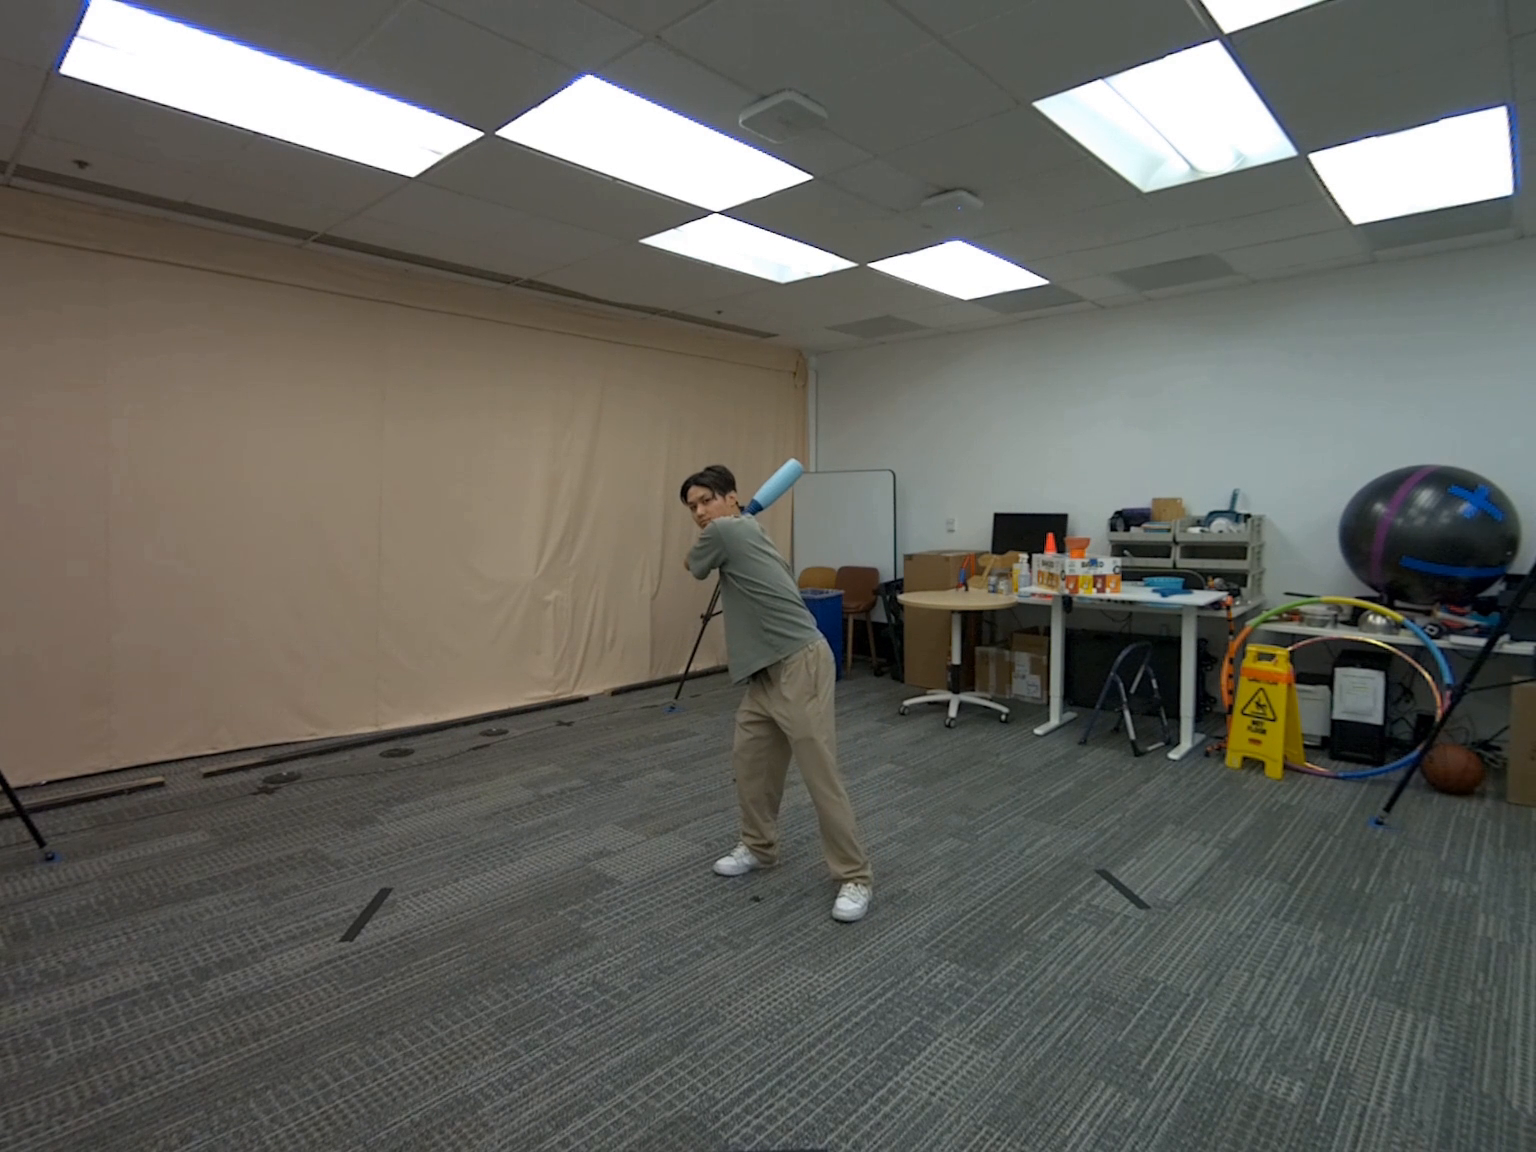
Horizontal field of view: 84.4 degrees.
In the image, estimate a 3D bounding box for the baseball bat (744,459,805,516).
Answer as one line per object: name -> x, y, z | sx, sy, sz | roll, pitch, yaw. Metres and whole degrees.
baseball bat -> -0.050, -0.288, 3.580 | 0.542, 0.088, 0.090 | -45, 12, -6
